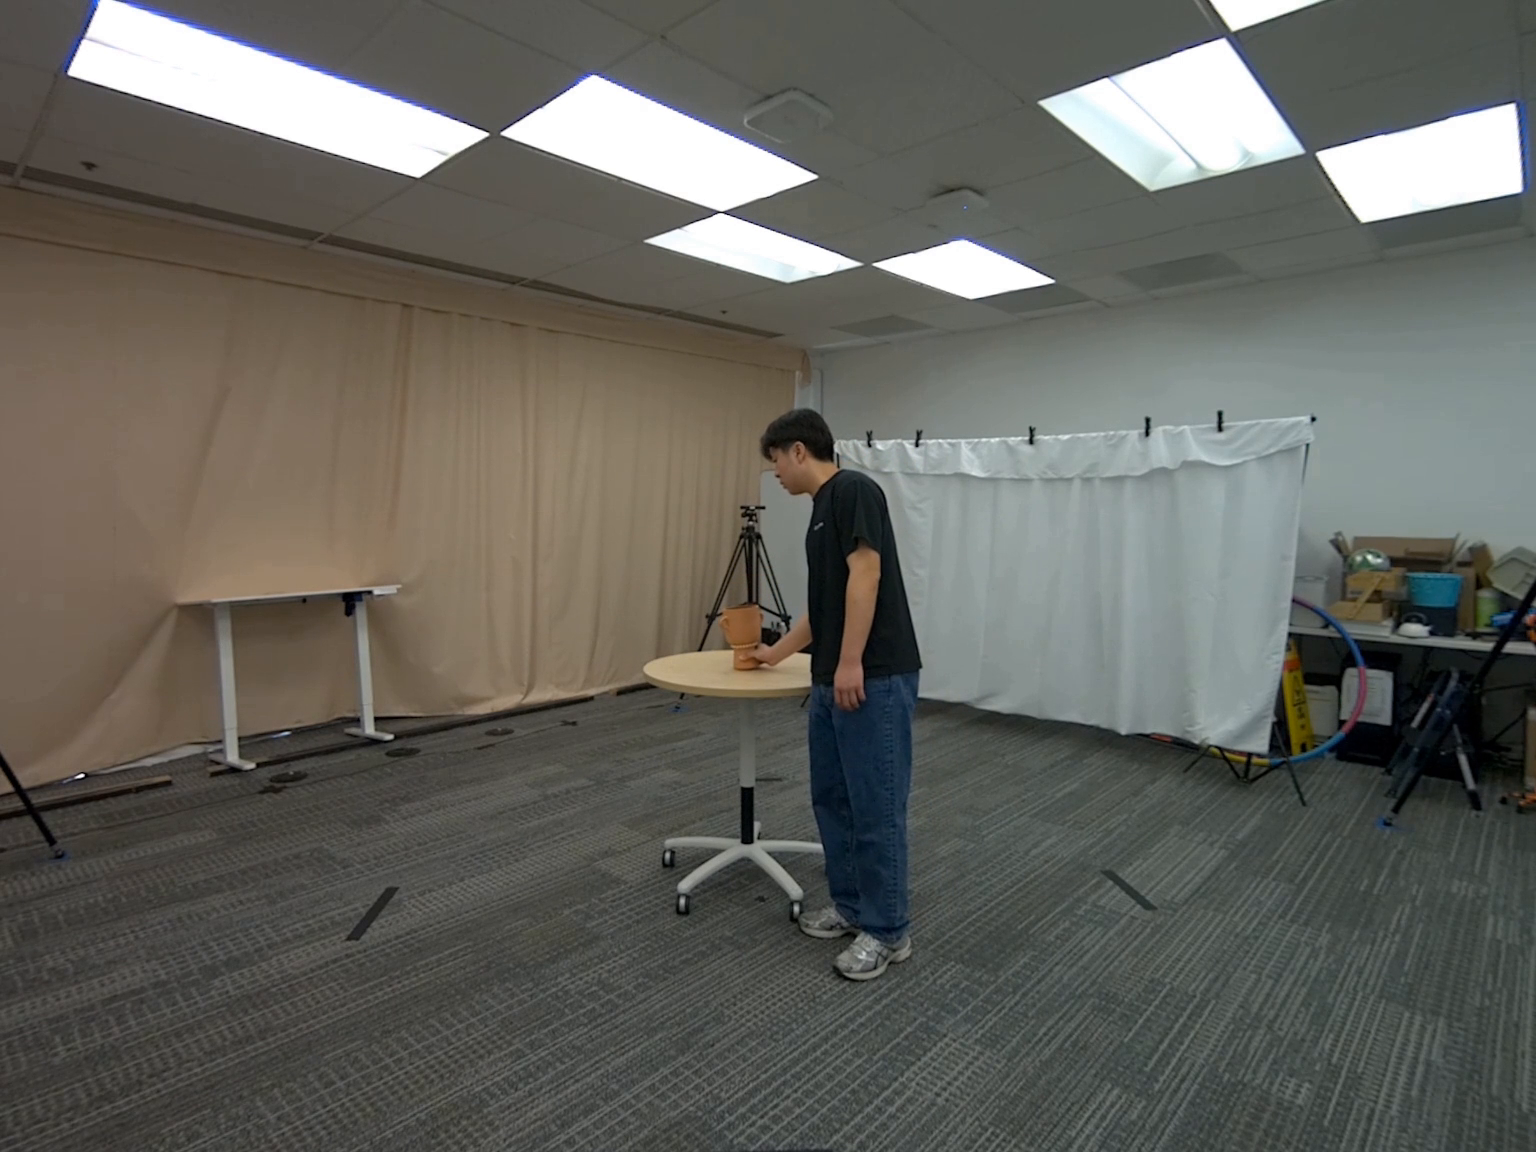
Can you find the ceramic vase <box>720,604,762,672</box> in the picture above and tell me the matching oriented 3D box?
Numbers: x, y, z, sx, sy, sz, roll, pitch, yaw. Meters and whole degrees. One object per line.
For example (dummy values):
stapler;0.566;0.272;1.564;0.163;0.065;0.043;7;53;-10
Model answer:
ceramic vase;-0.084;0.227;3.083;0.160;0.220;0.134;-6;1;5
